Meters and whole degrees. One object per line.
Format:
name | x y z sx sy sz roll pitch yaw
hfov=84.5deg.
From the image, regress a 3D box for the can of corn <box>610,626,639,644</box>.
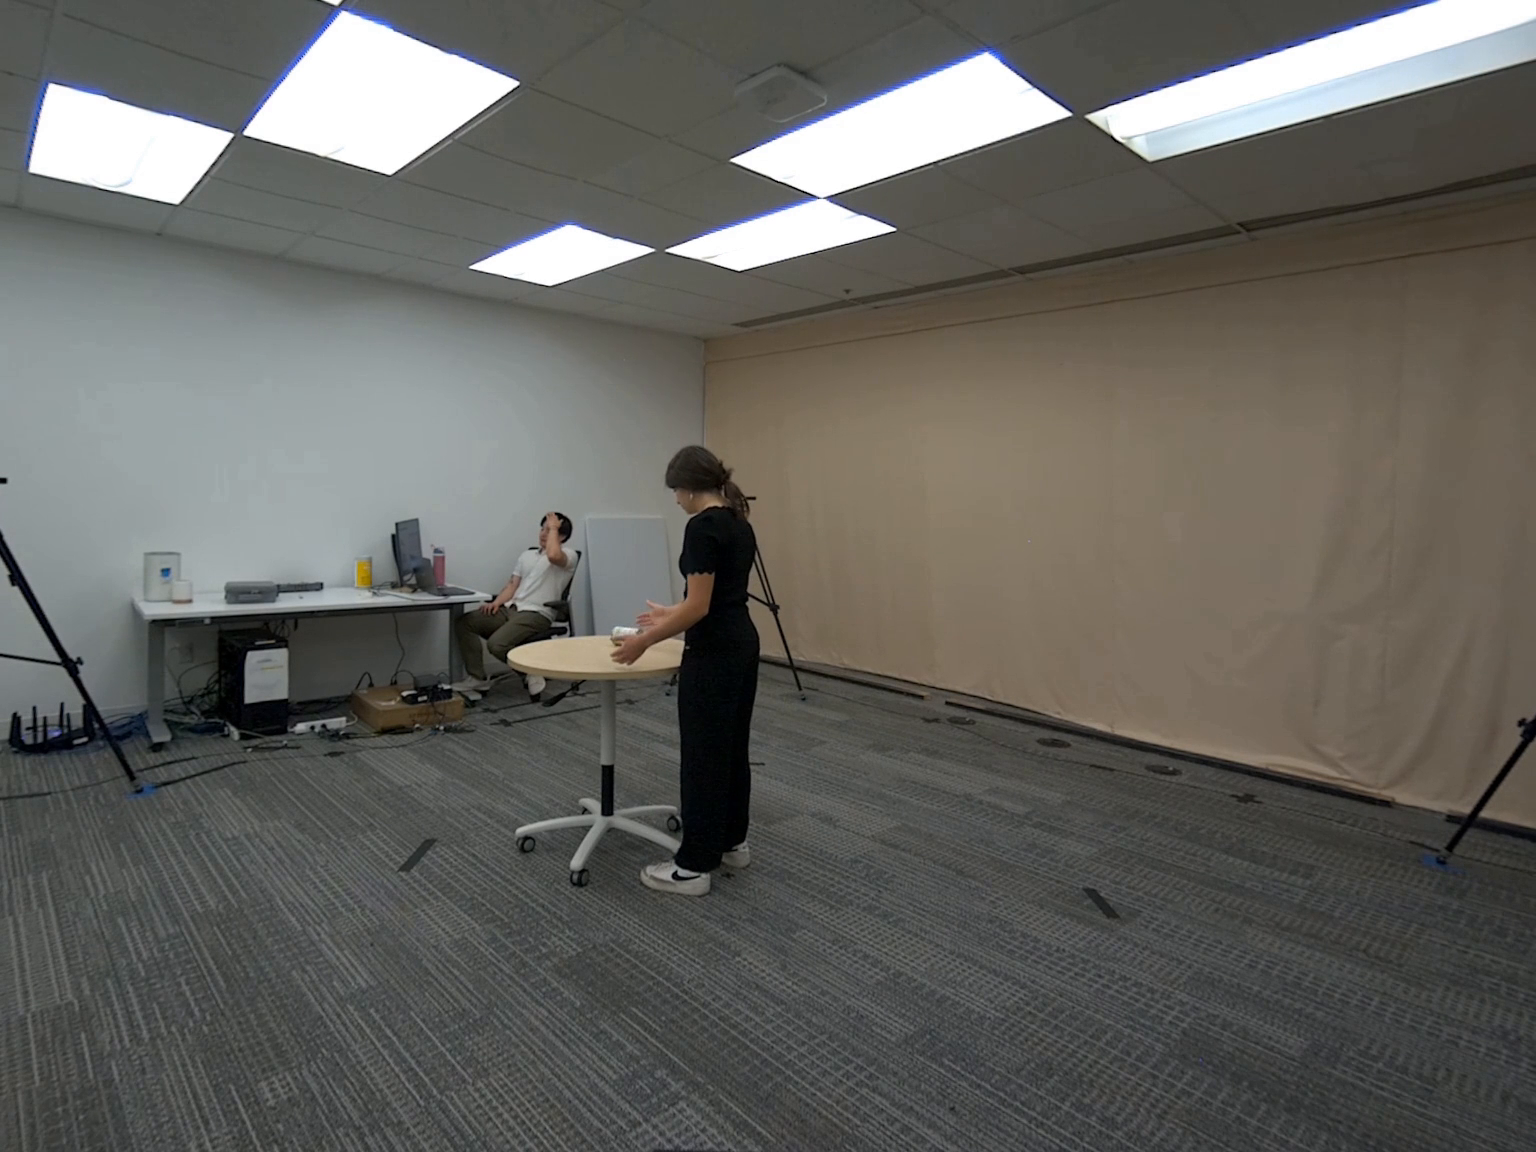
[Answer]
can of corn | -0.574 0.246 3.407 0.113 0.074 0.073 4 5 25
